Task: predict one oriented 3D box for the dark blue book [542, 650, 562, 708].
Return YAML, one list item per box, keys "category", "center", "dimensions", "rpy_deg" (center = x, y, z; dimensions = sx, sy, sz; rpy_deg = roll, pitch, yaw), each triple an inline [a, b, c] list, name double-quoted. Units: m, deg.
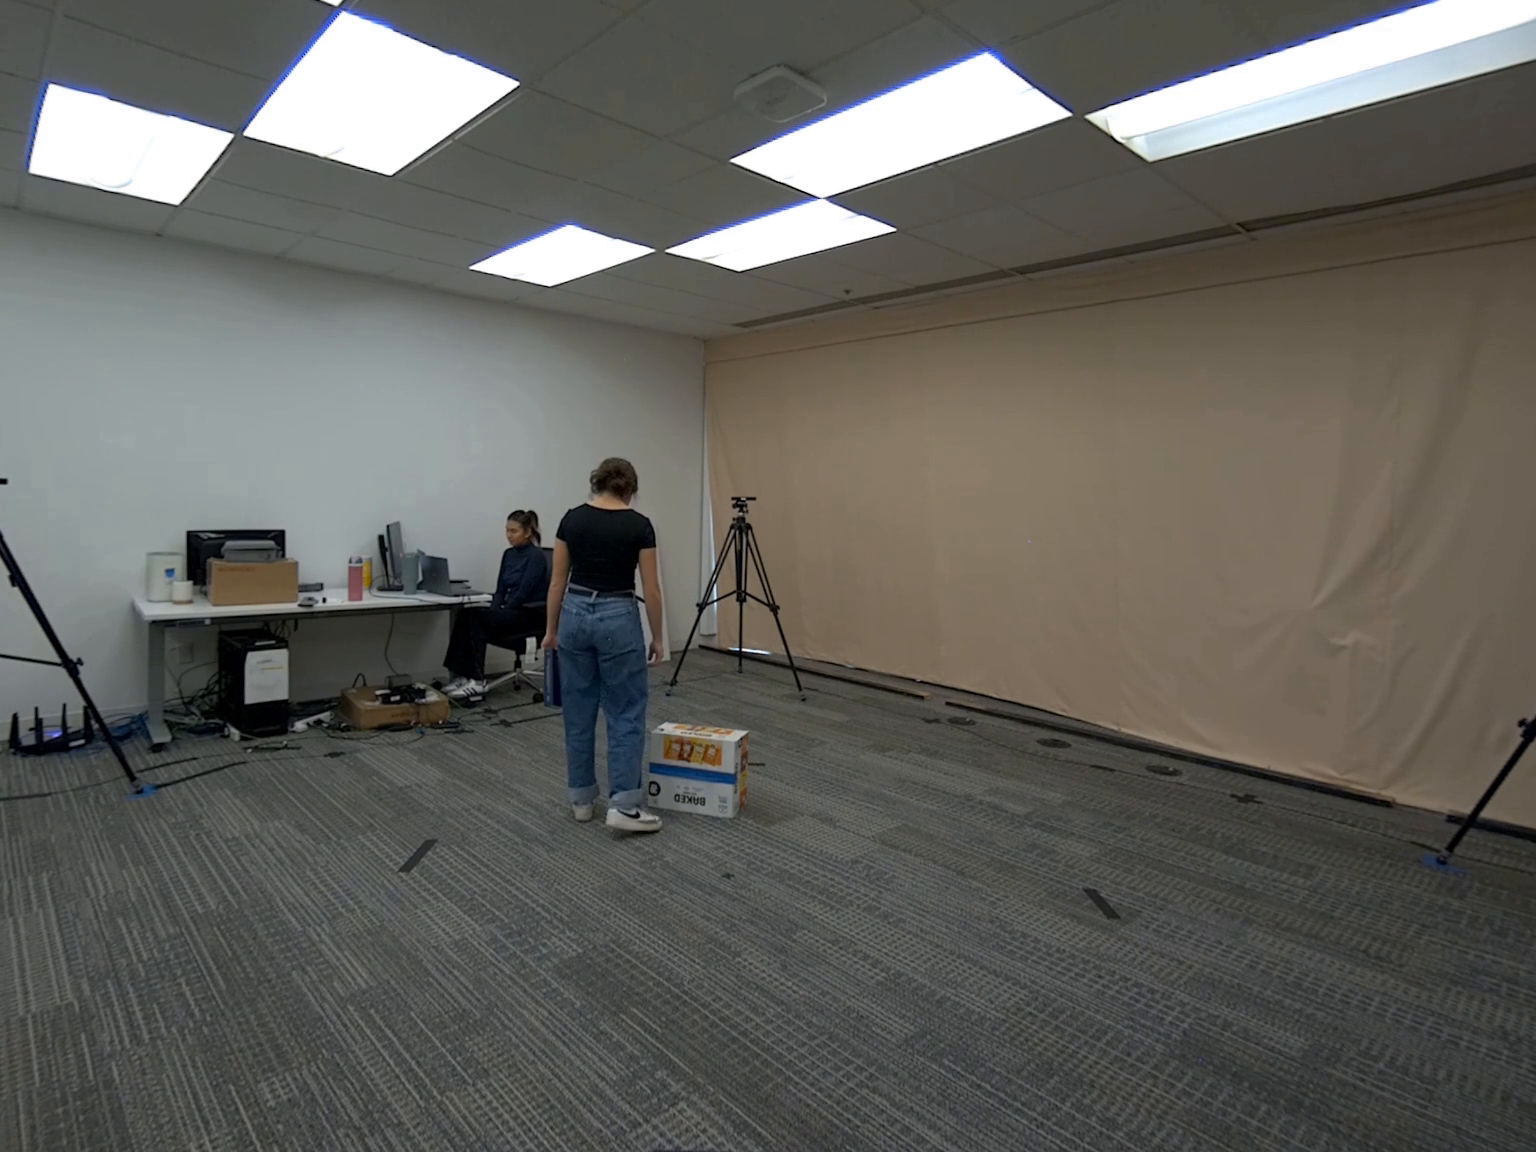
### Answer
- category: "dark blue book"
  center: [-0.923, 0.442, 3.665]
  dimensions: [0.045, 0.247, 0.161]
  rpy_deg: [-6, -12, 9]
